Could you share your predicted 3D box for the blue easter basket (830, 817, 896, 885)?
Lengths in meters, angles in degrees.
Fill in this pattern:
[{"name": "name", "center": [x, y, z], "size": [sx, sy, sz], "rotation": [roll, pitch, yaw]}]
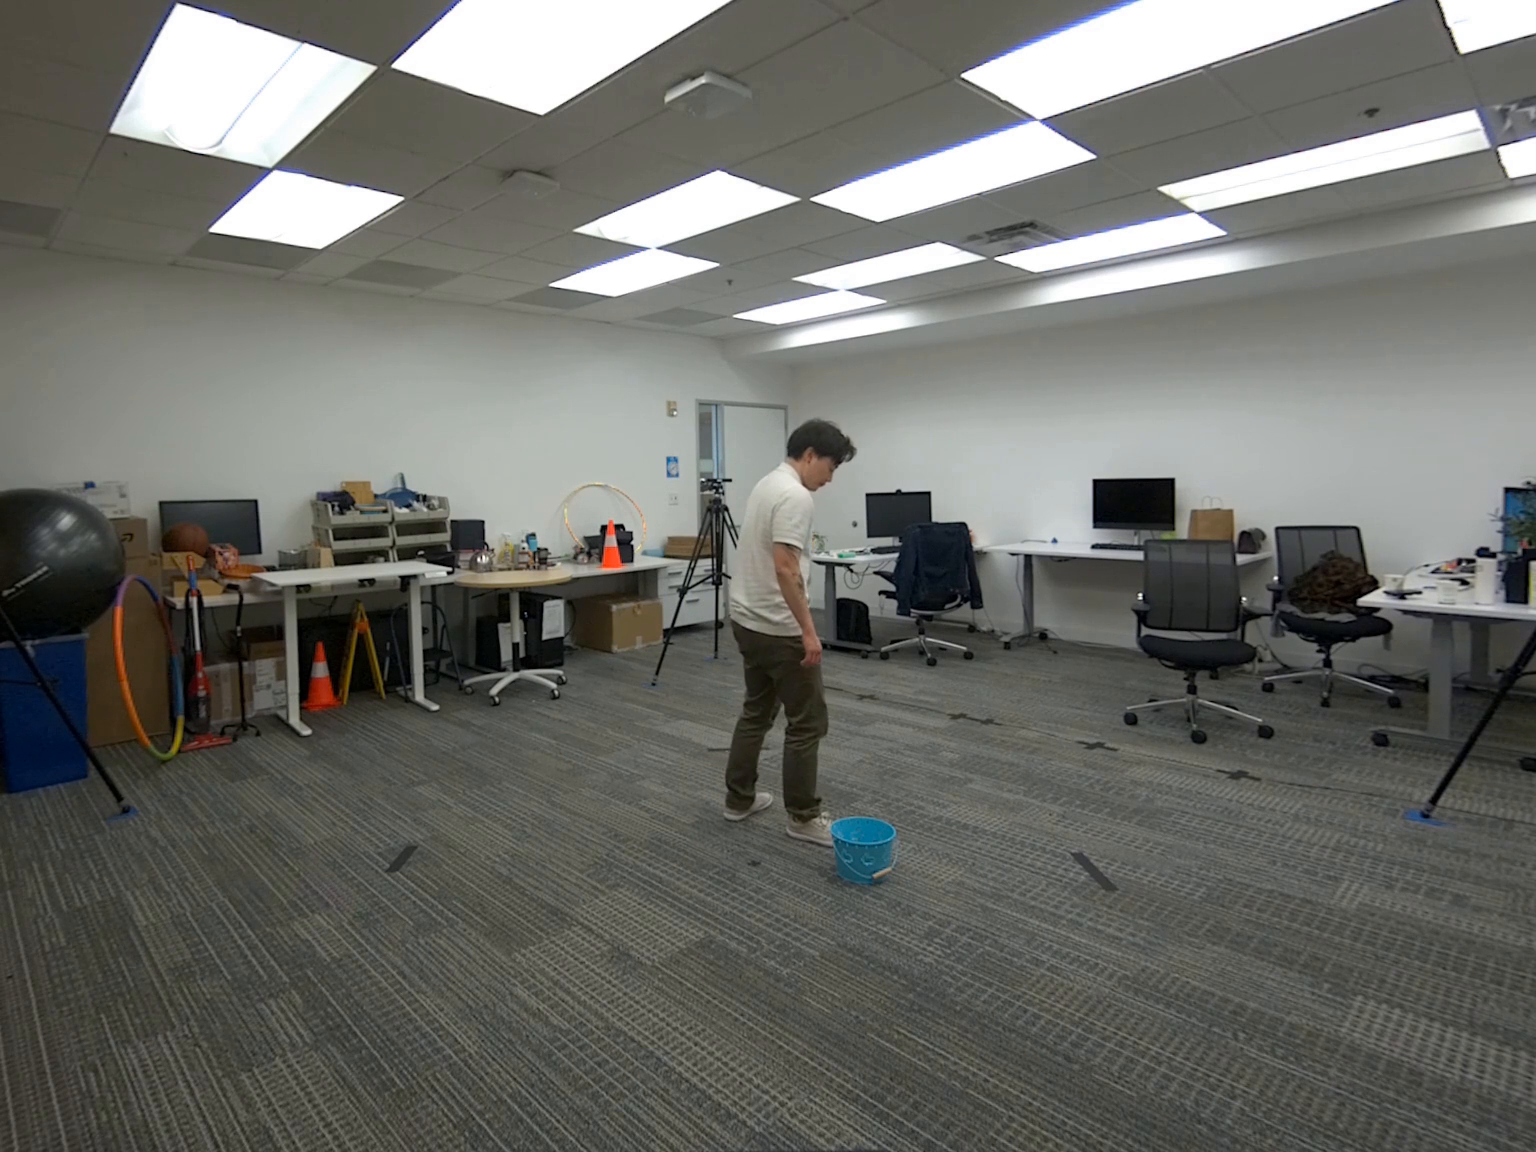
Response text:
[{"name": "blue easter basket", "center": [0.336, 0.970, 3.018], "size": [0.243, 0.155, 0.245], "rotation": [-1, 5, -2]}]
